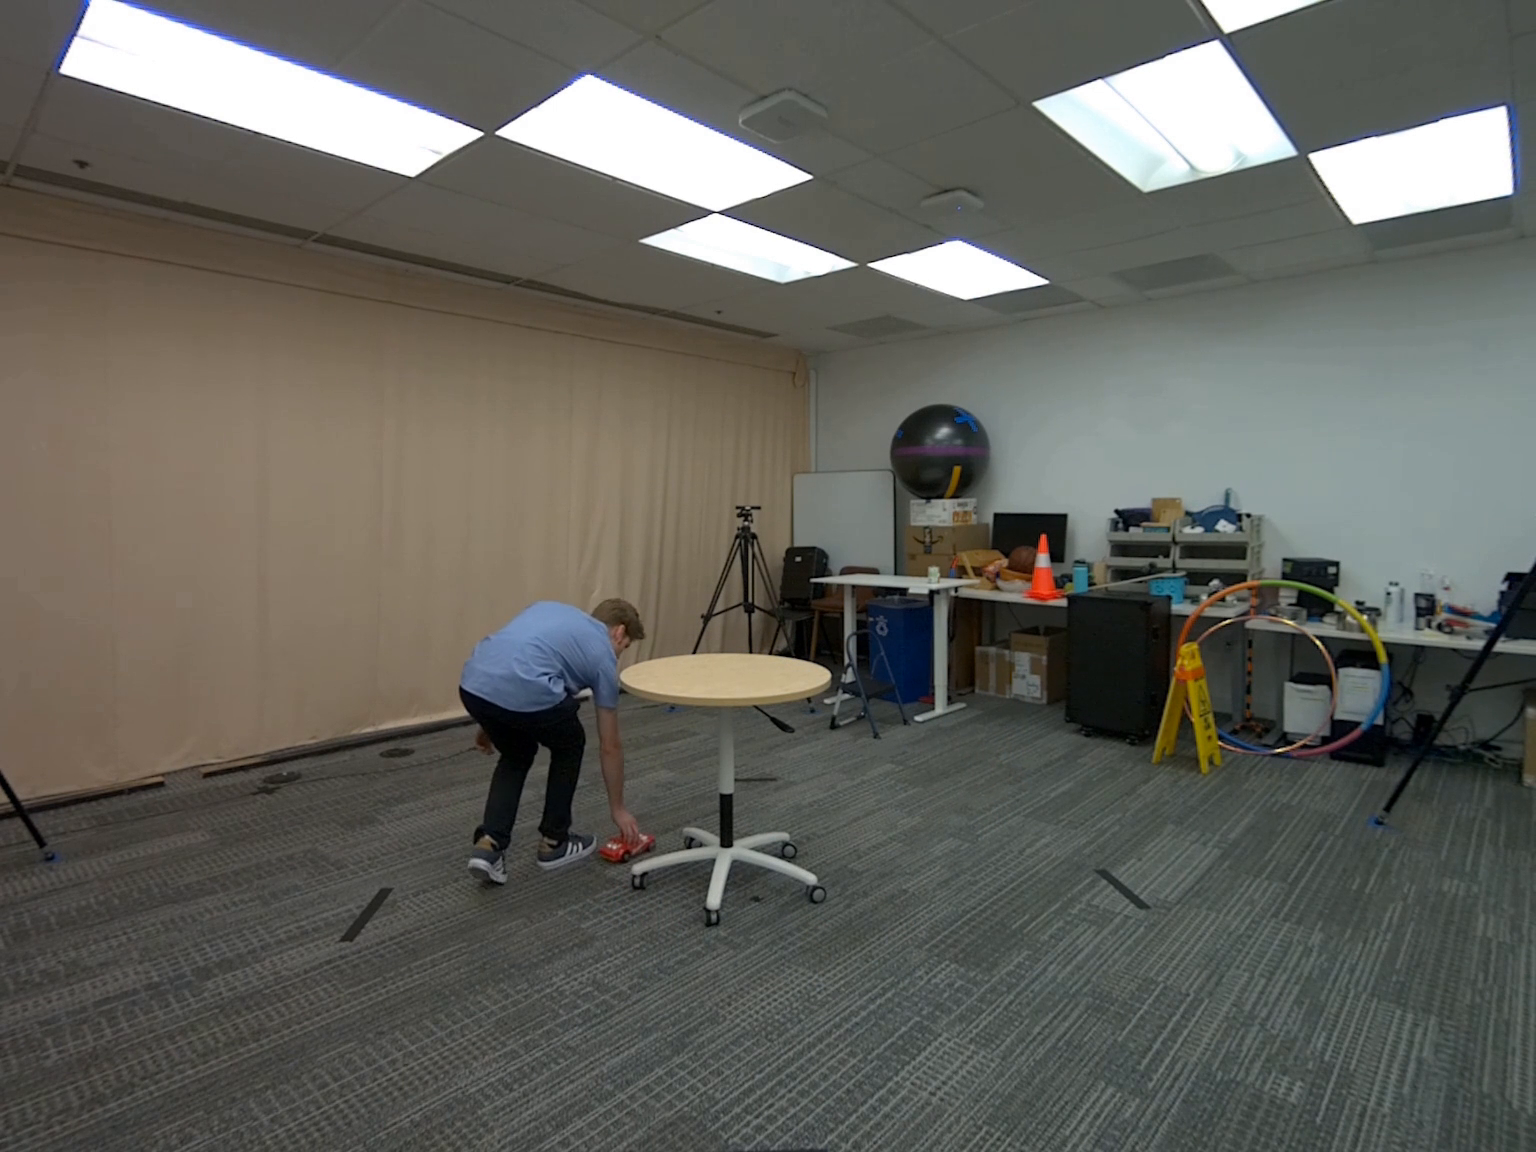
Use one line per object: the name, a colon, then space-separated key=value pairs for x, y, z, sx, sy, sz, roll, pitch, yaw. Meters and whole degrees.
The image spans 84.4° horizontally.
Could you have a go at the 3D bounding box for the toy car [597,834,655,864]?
toy car: x=-0.573 y=1.091 z=3.361 sx=0.134 sy=0.083 sz=0.246 roll=2 pitch=-6 yaw=40
